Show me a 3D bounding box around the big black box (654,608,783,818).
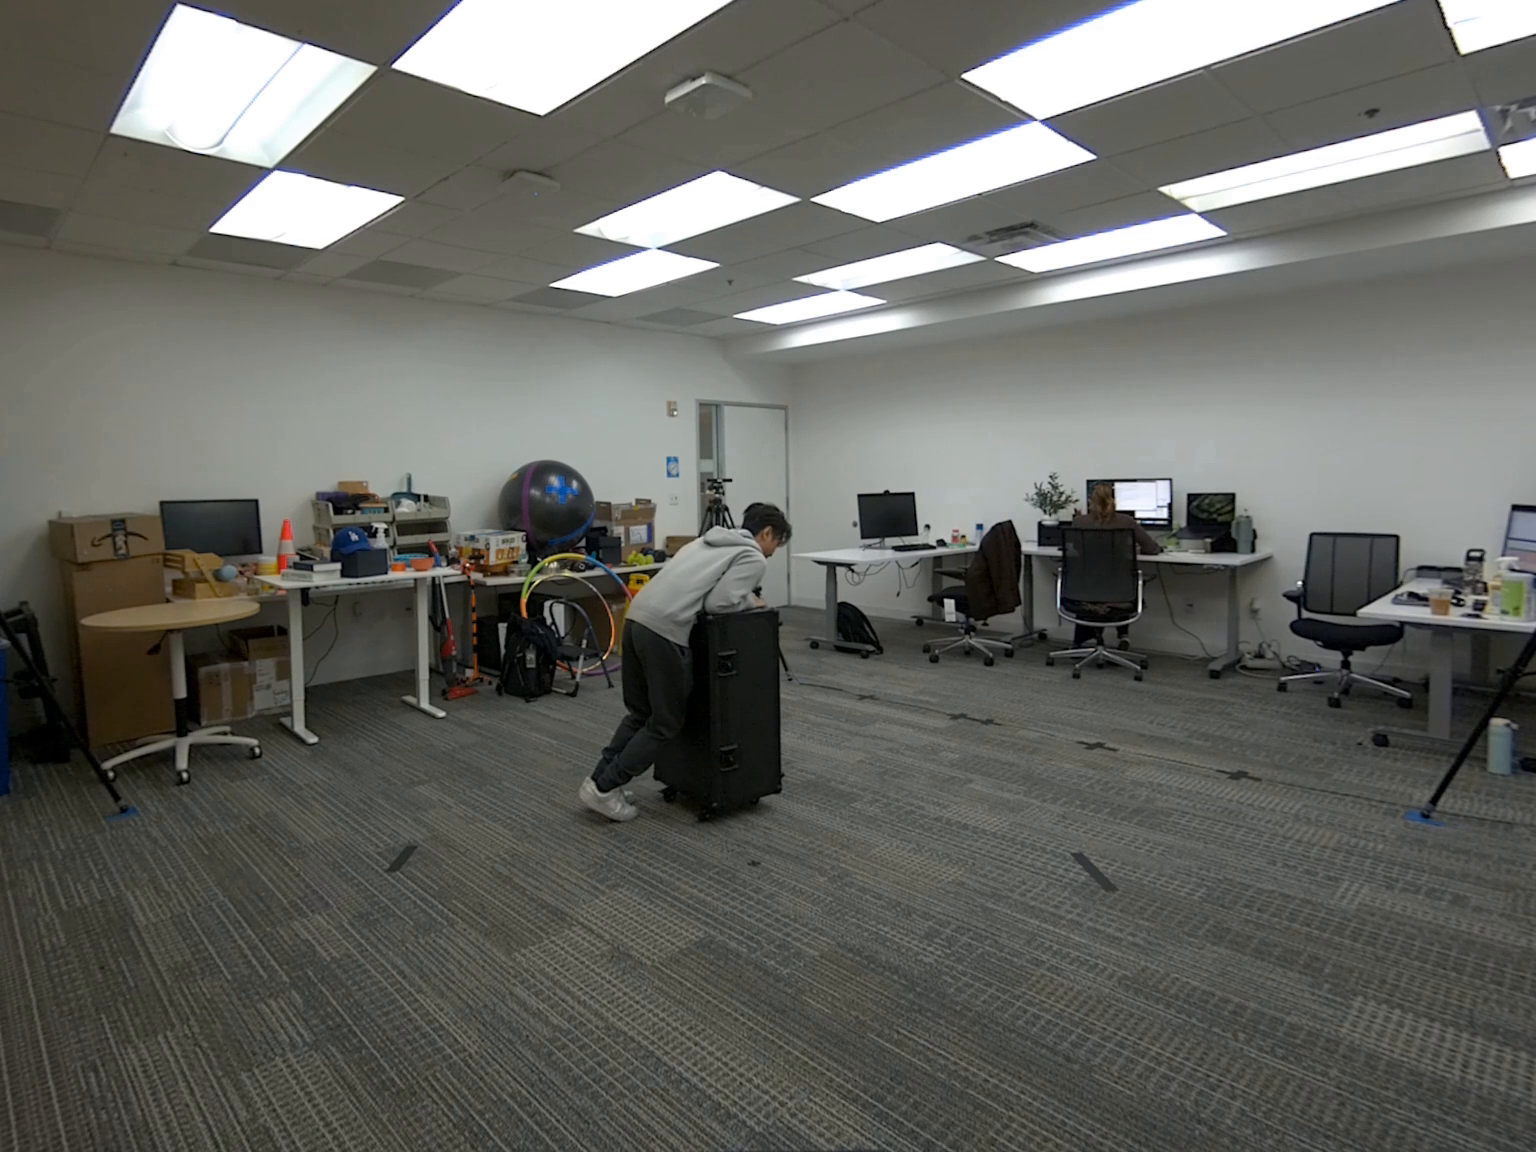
[{"bbox_3d":[-0.223,0.560,3.707,0.386,0.859,0.536,-3,4,-35],"label":"big black box"}]
